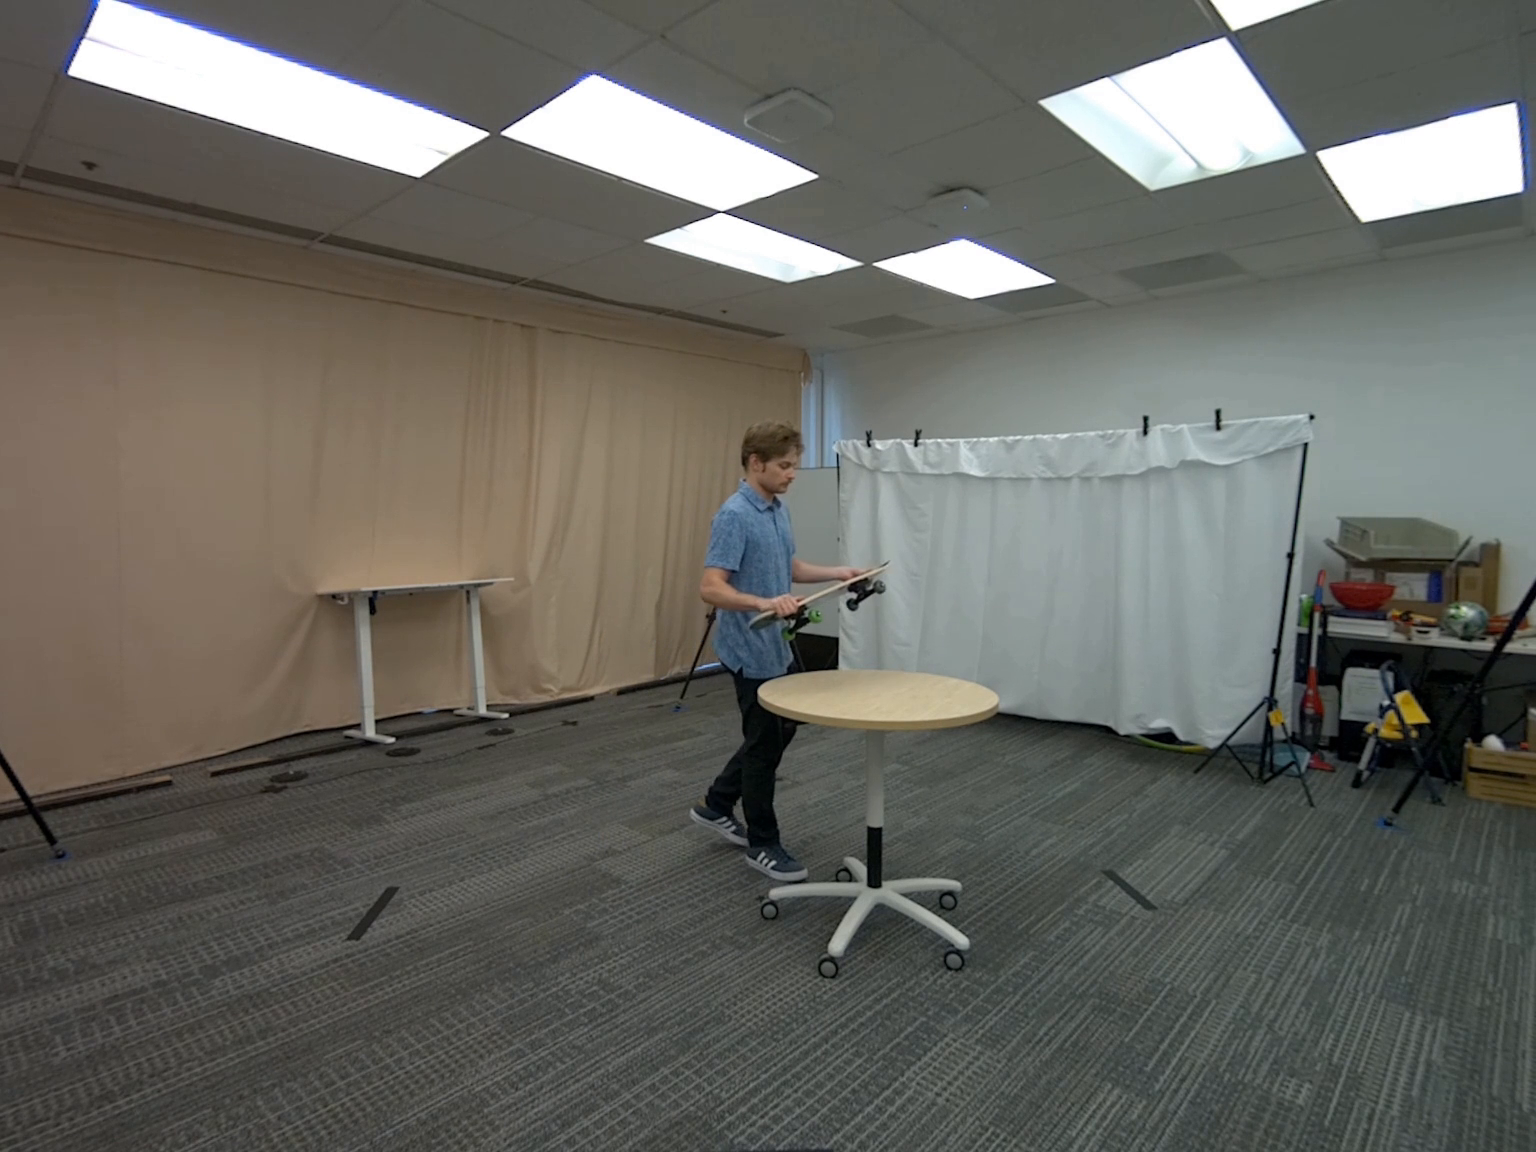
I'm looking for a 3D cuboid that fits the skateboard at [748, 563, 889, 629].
[{"bbox_3d":[0.227,0.104,3.070,0.766,0.111,0.196,-19,-12,-45],"label":"skateboard"}]
